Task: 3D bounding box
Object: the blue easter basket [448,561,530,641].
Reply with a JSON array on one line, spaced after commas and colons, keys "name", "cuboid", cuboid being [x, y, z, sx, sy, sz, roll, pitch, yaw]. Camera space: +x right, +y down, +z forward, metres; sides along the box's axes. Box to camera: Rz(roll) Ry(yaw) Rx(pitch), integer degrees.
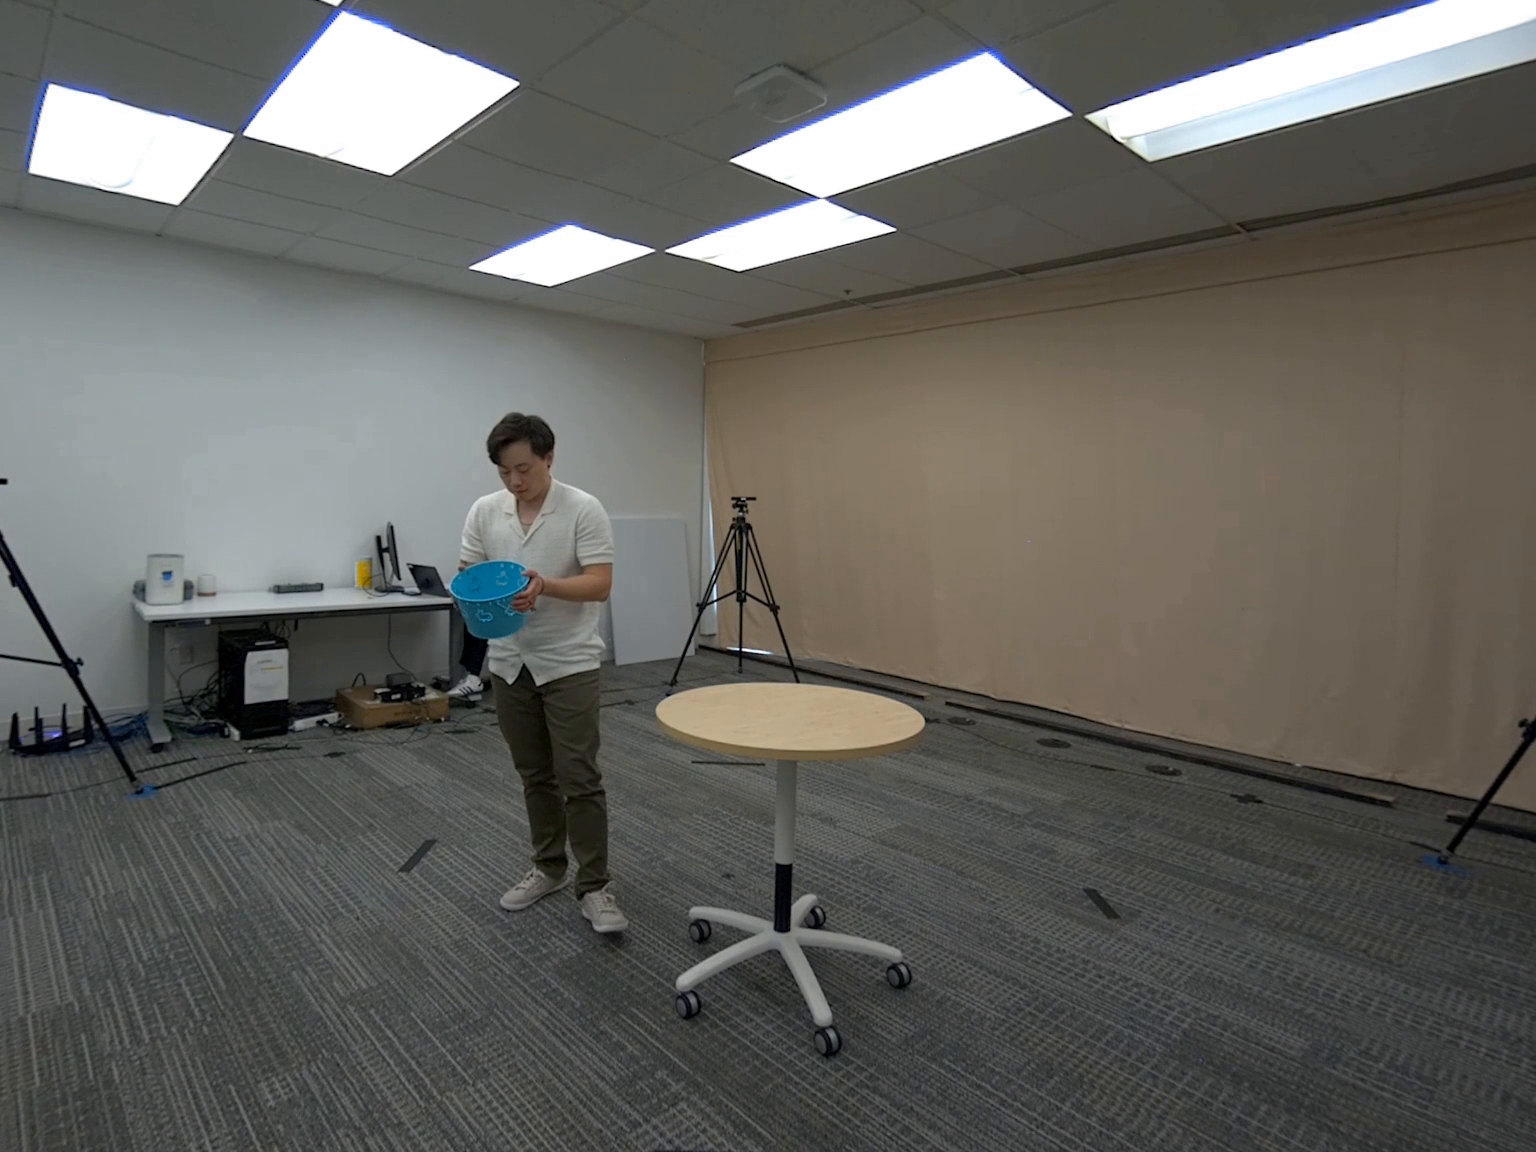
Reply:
[{"name": "blue easter basket", "cuboid": [-0.827, 0.081, 2.533, 0.244, 0.153, 0.248, -3, 29, 0]}]
